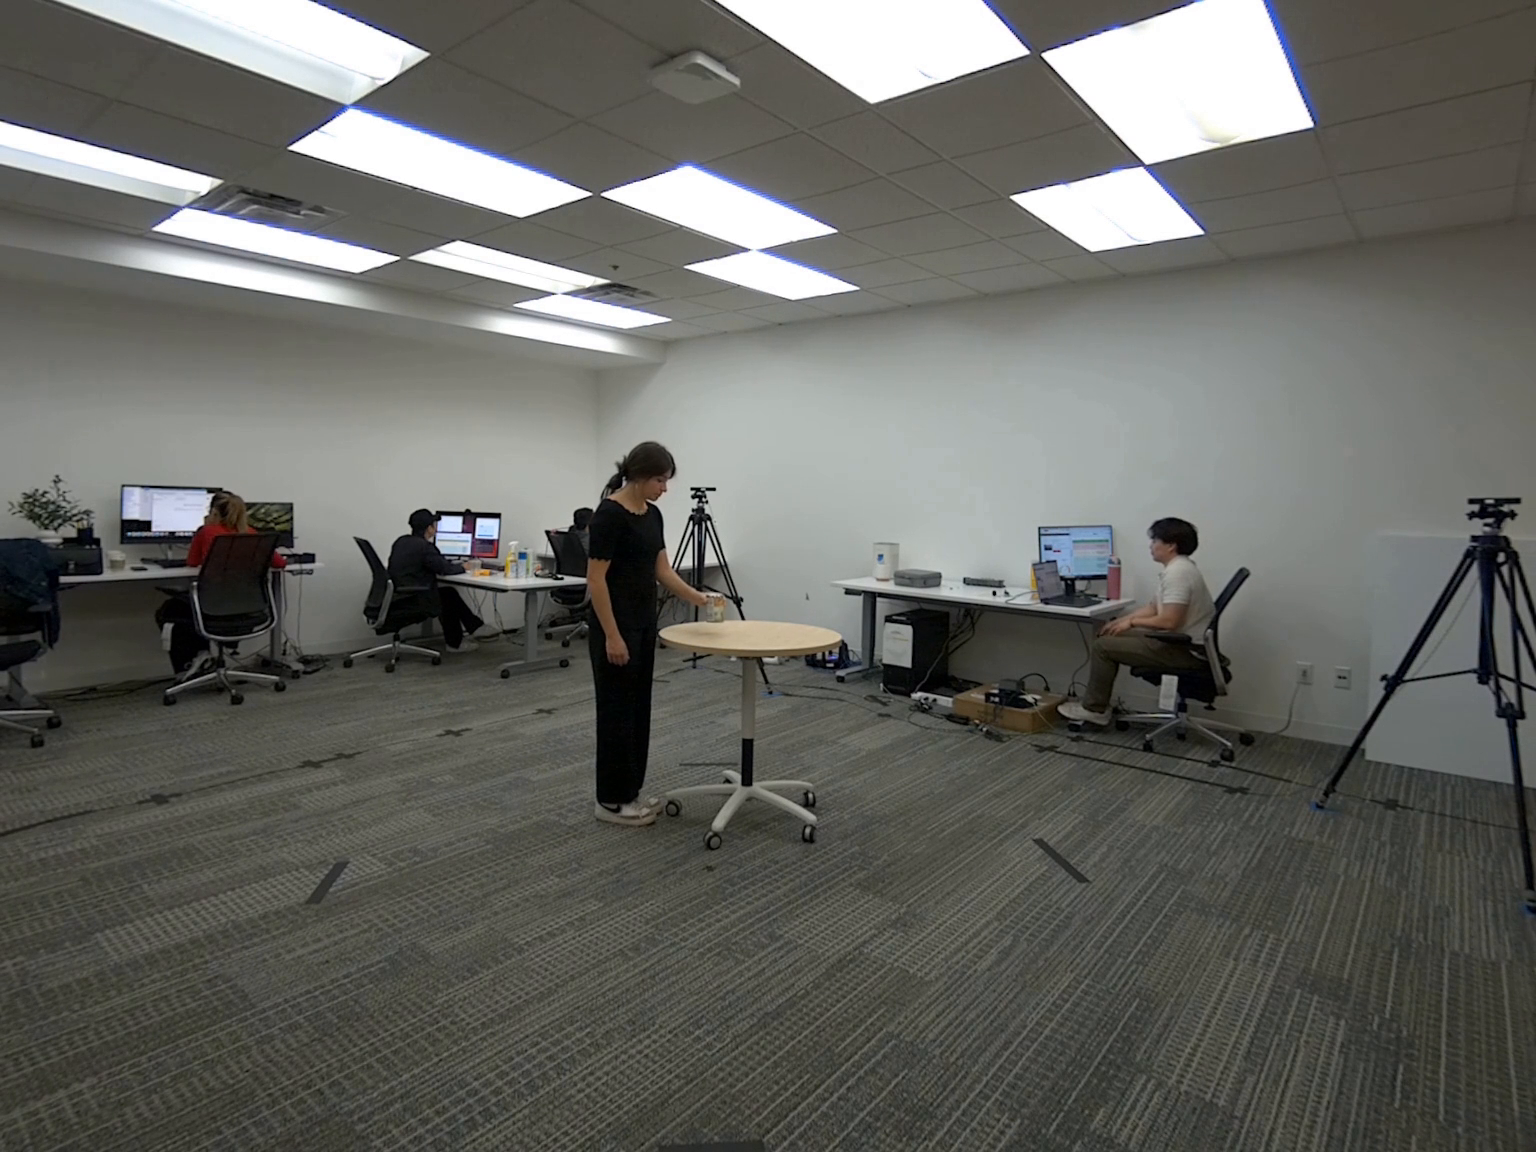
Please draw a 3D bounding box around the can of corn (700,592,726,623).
[{"bbox_3d":[-0.239,0.129,3.574,0.074,0.110,0.074,-1,5,-2],"label":"can of corn"}]
